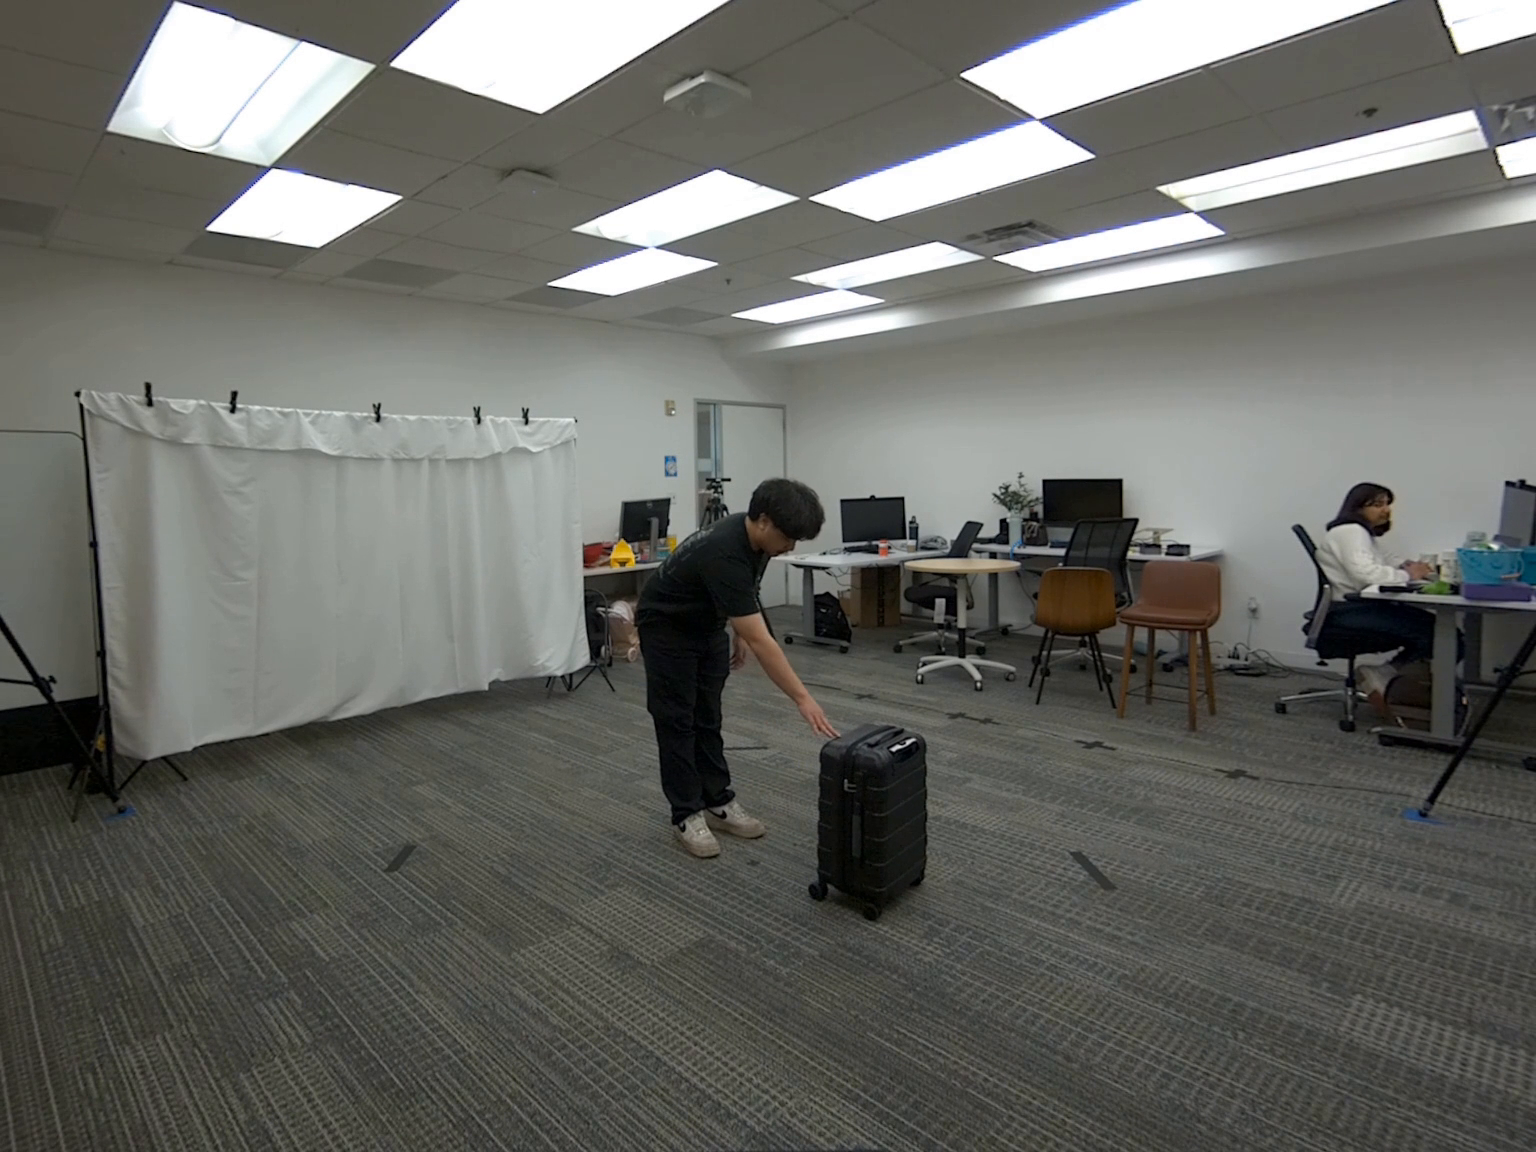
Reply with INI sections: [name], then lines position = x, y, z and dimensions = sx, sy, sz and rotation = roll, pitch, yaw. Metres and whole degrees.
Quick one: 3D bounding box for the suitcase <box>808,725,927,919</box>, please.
[suitcase]
position = 0.350, 0.789, 2.846
dimensions = 0.256, 0.547, 0.366
rotation = 4, 6, 37
